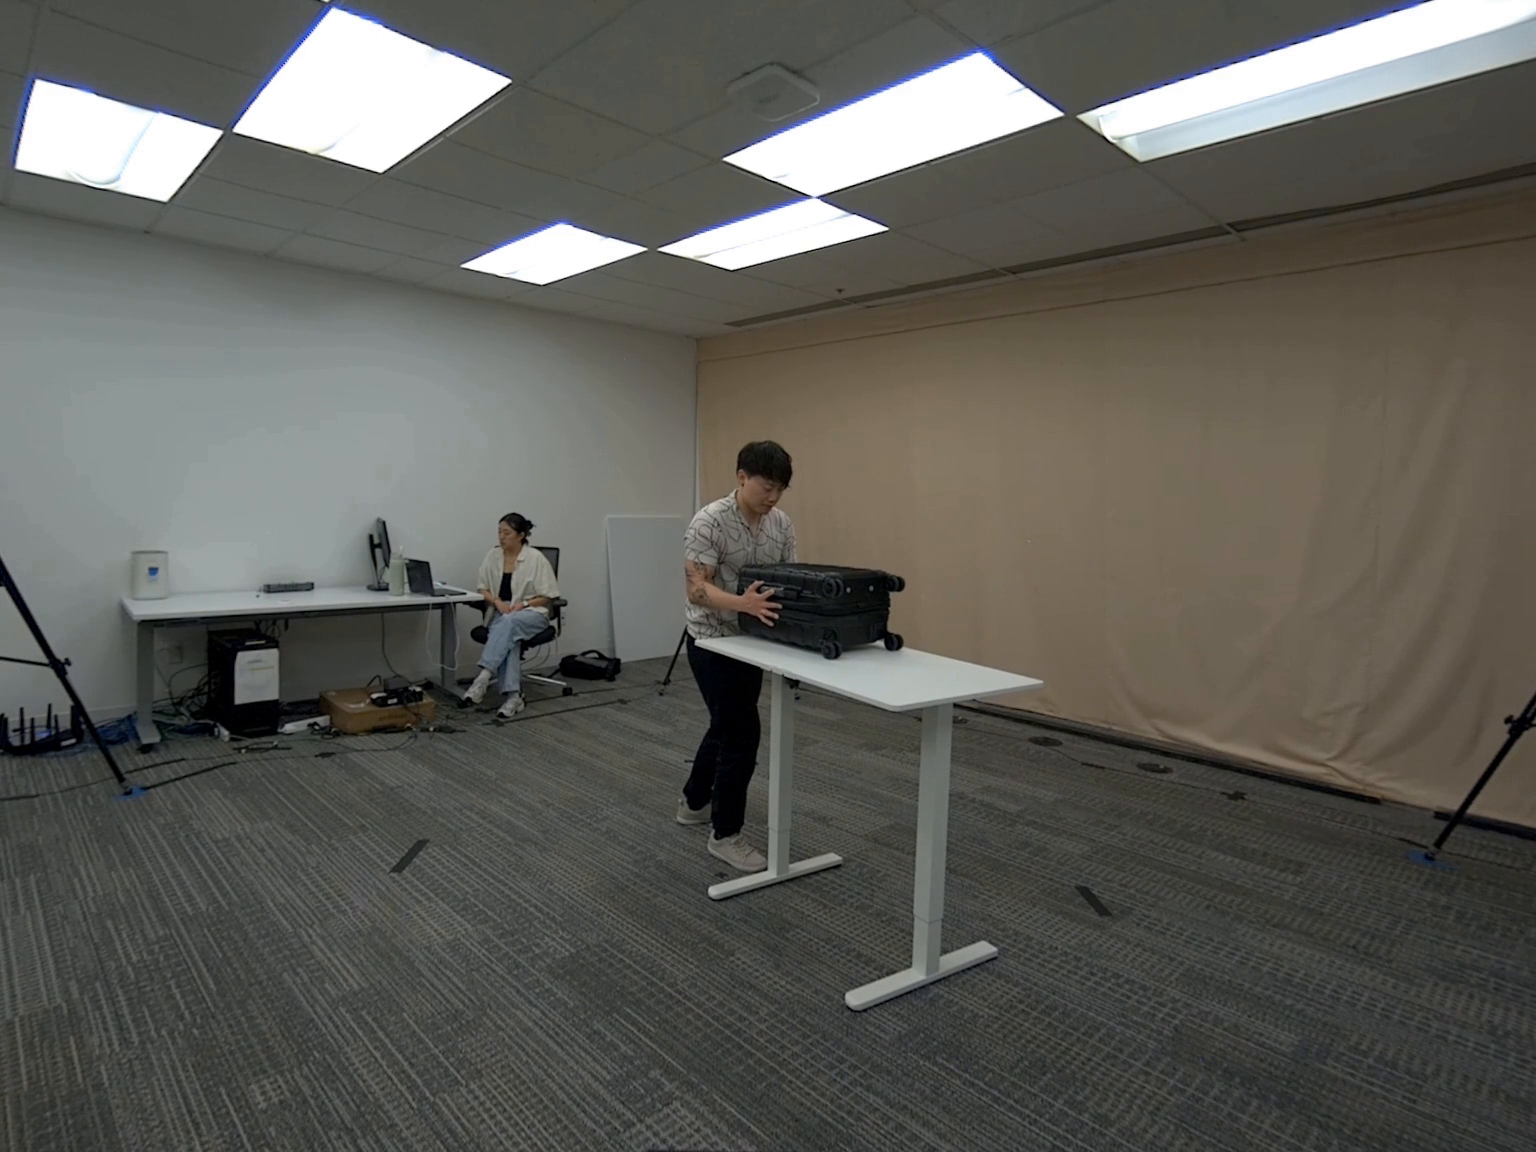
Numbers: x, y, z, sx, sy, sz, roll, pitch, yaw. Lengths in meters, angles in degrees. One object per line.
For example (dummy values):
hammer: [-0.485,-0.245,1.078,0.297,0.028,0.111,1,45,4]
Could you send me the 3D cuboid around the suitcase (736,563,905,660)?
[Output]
suitcase: [0.147,0.096,2.979,0.367,0.247,0.563,-2,7,-38]
